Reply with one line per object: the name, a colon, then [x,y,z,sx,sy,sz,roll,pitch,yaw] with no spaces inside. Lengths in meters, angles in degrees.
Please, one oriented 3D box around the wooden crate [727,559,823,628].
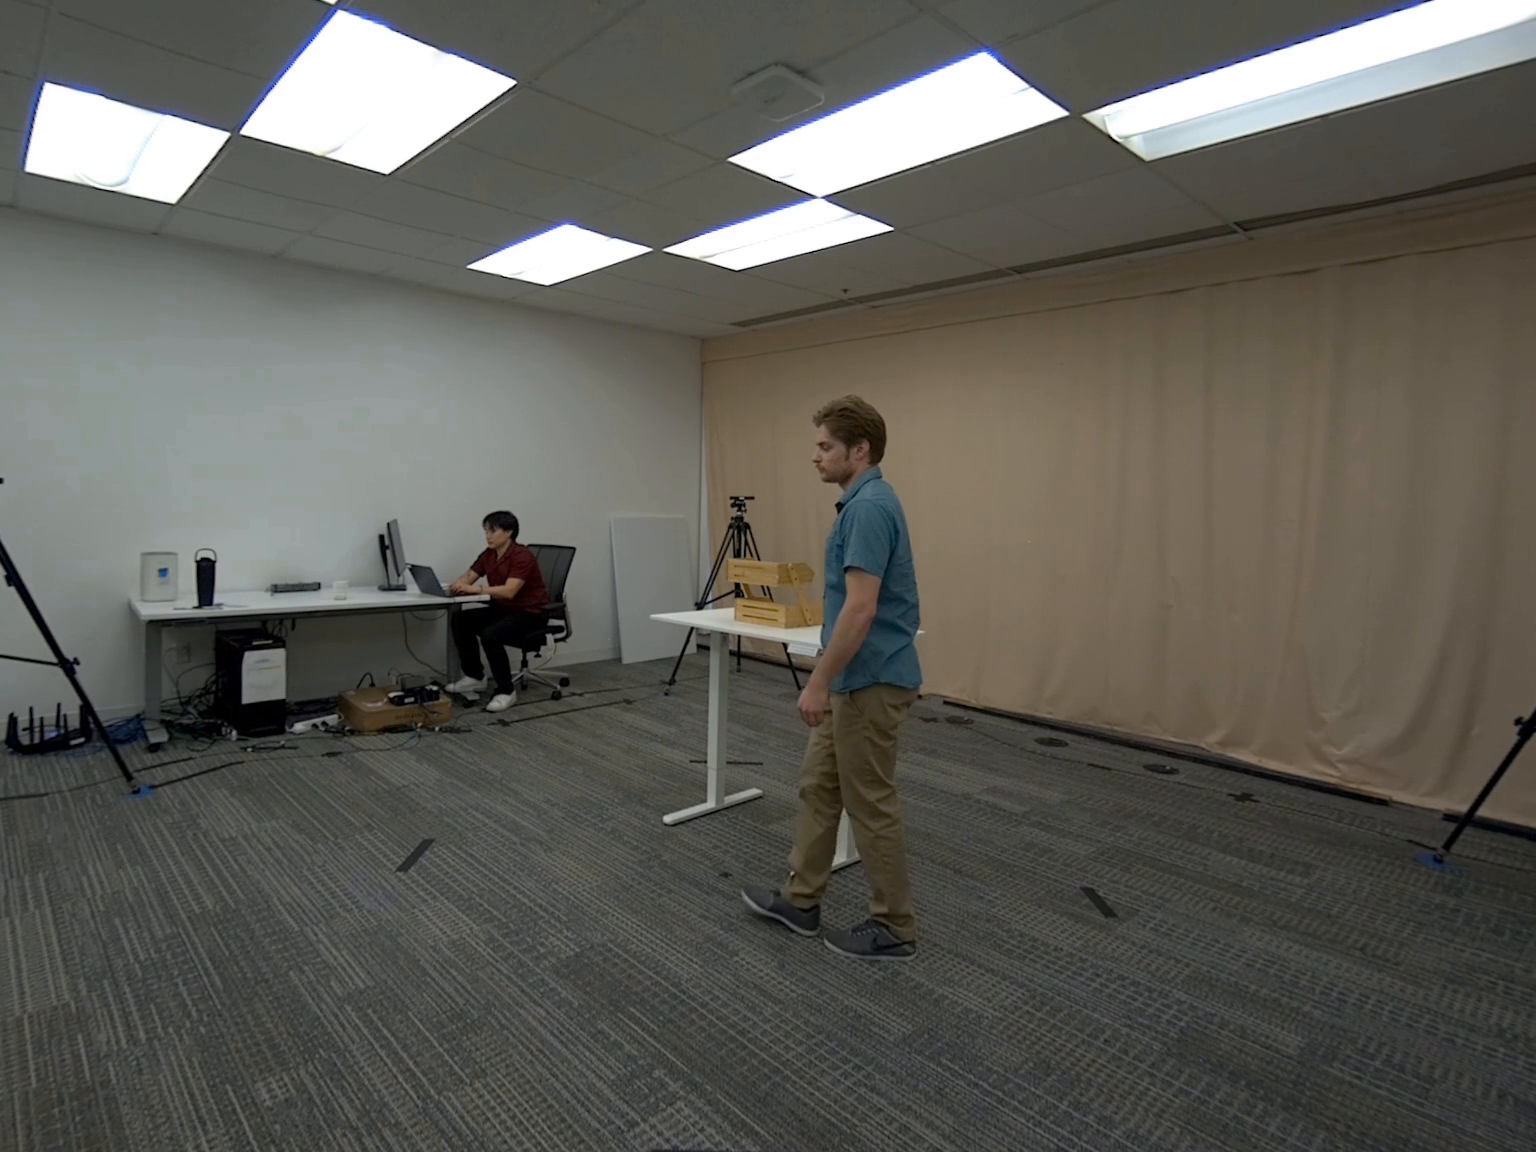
wooden crate: [0.035,0.062,3.476,0.295,0.273,0.333,-2,5,-44]
